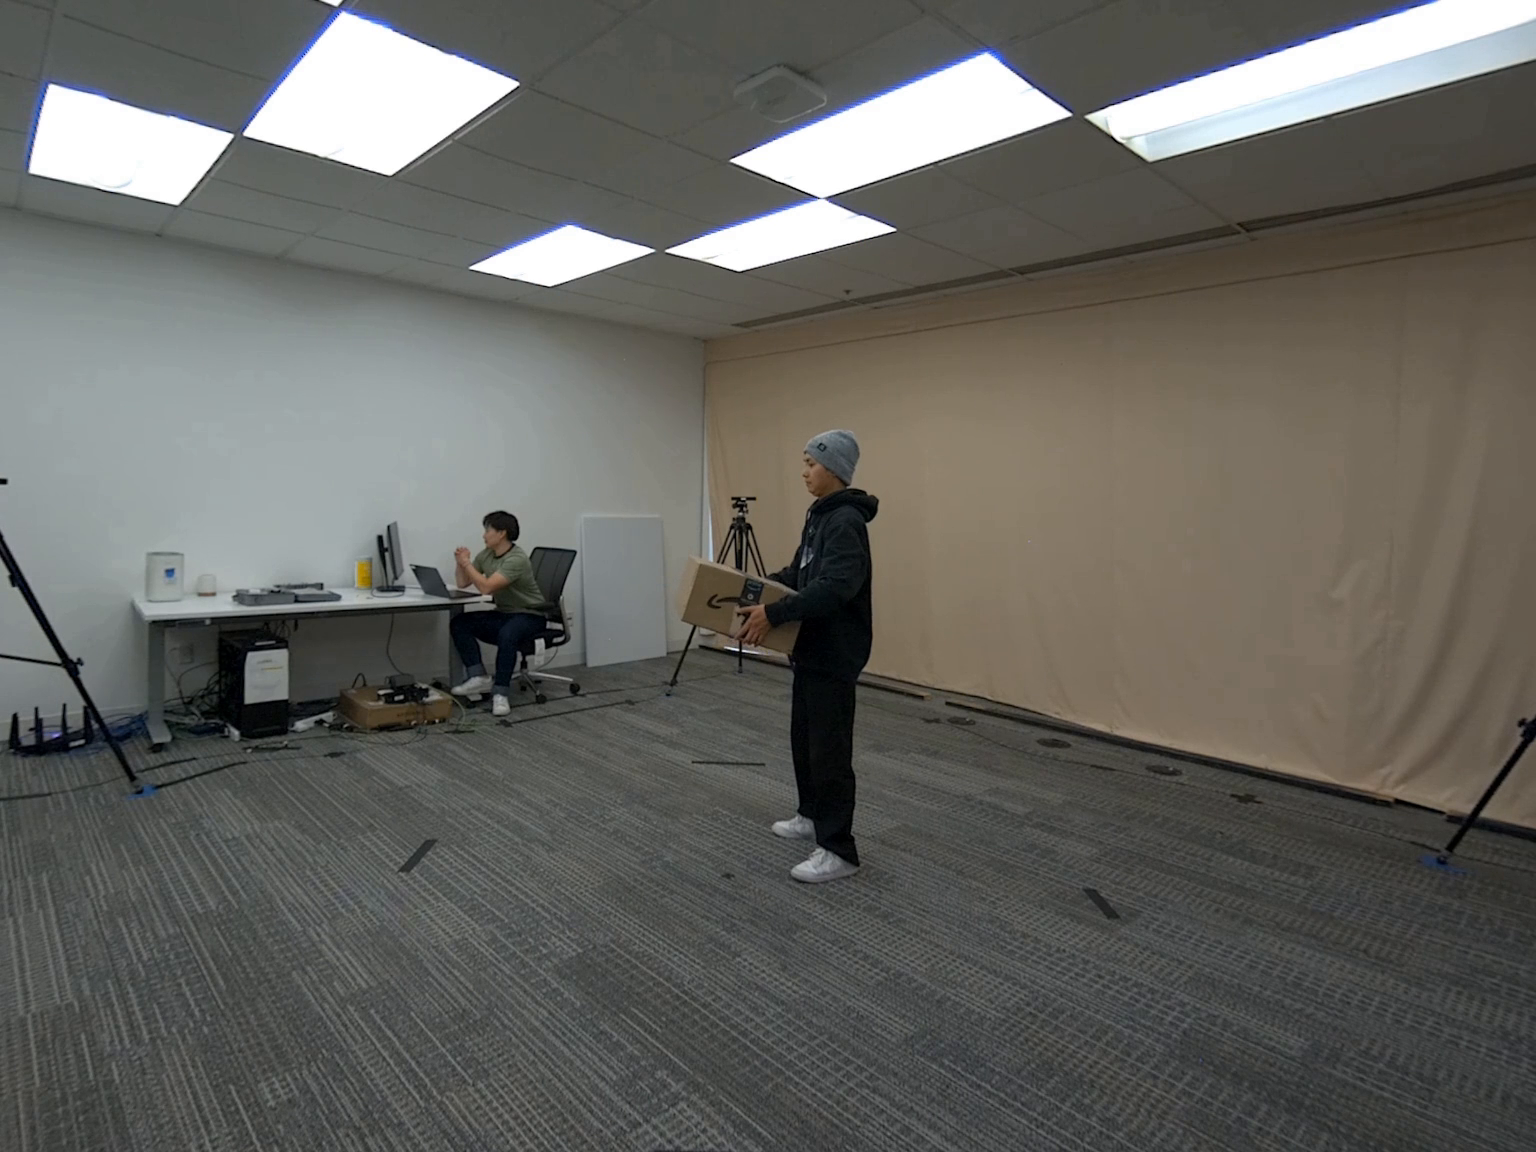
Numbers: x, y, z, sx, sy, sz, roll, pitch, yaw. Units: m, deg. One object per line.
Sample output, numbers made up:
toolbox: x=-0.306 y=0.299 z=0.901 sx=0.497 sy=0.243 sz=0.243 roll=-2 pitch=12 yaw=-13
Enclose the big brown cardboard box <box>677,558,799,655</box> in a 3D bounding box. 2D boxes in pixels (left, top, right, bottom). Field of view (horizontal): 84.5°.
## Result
big brown cardboard box: x=-0.125 y=0.098 z=3.238 sx=0.415 sy=0.233 sz=0.592 roll=17 pitch=1 yaw=-6
